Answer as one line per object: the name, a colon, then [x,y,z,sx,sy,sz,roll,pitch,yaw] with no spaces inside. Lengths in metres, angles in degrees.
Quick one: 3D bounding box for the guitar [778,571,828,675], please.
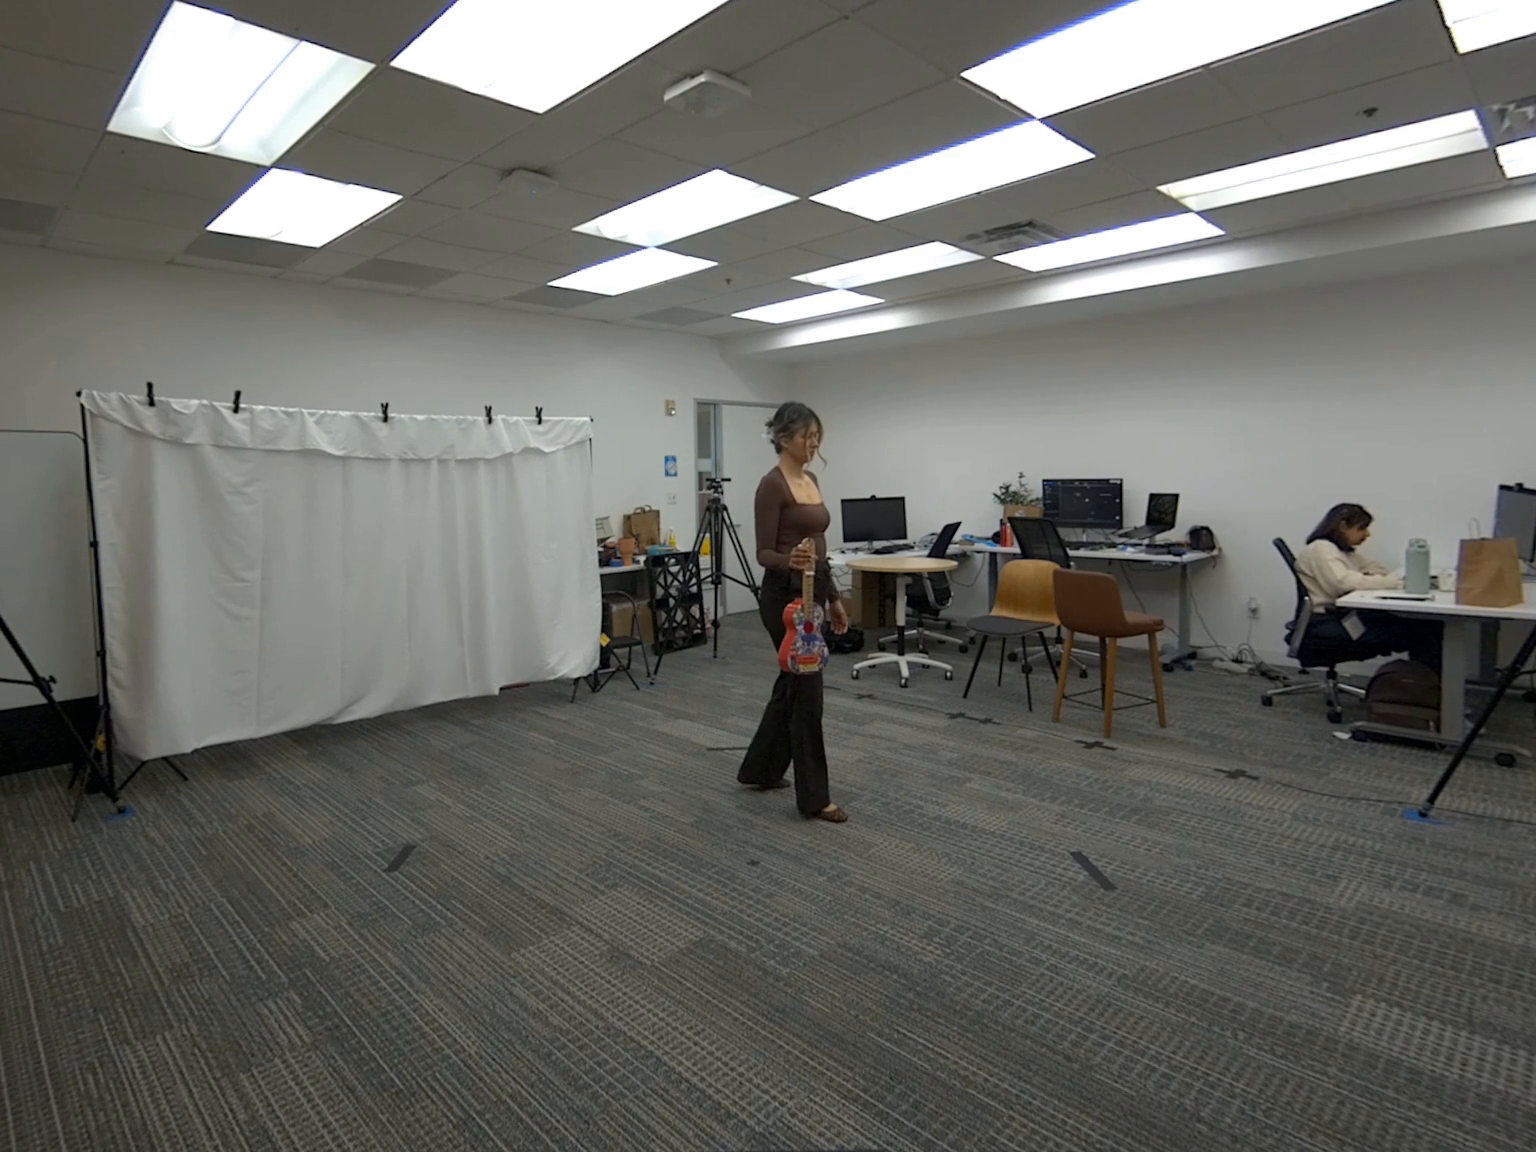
guitar: [0.149,0.117,3.180,0.187,0.499,0.072,9,-5,-32]
